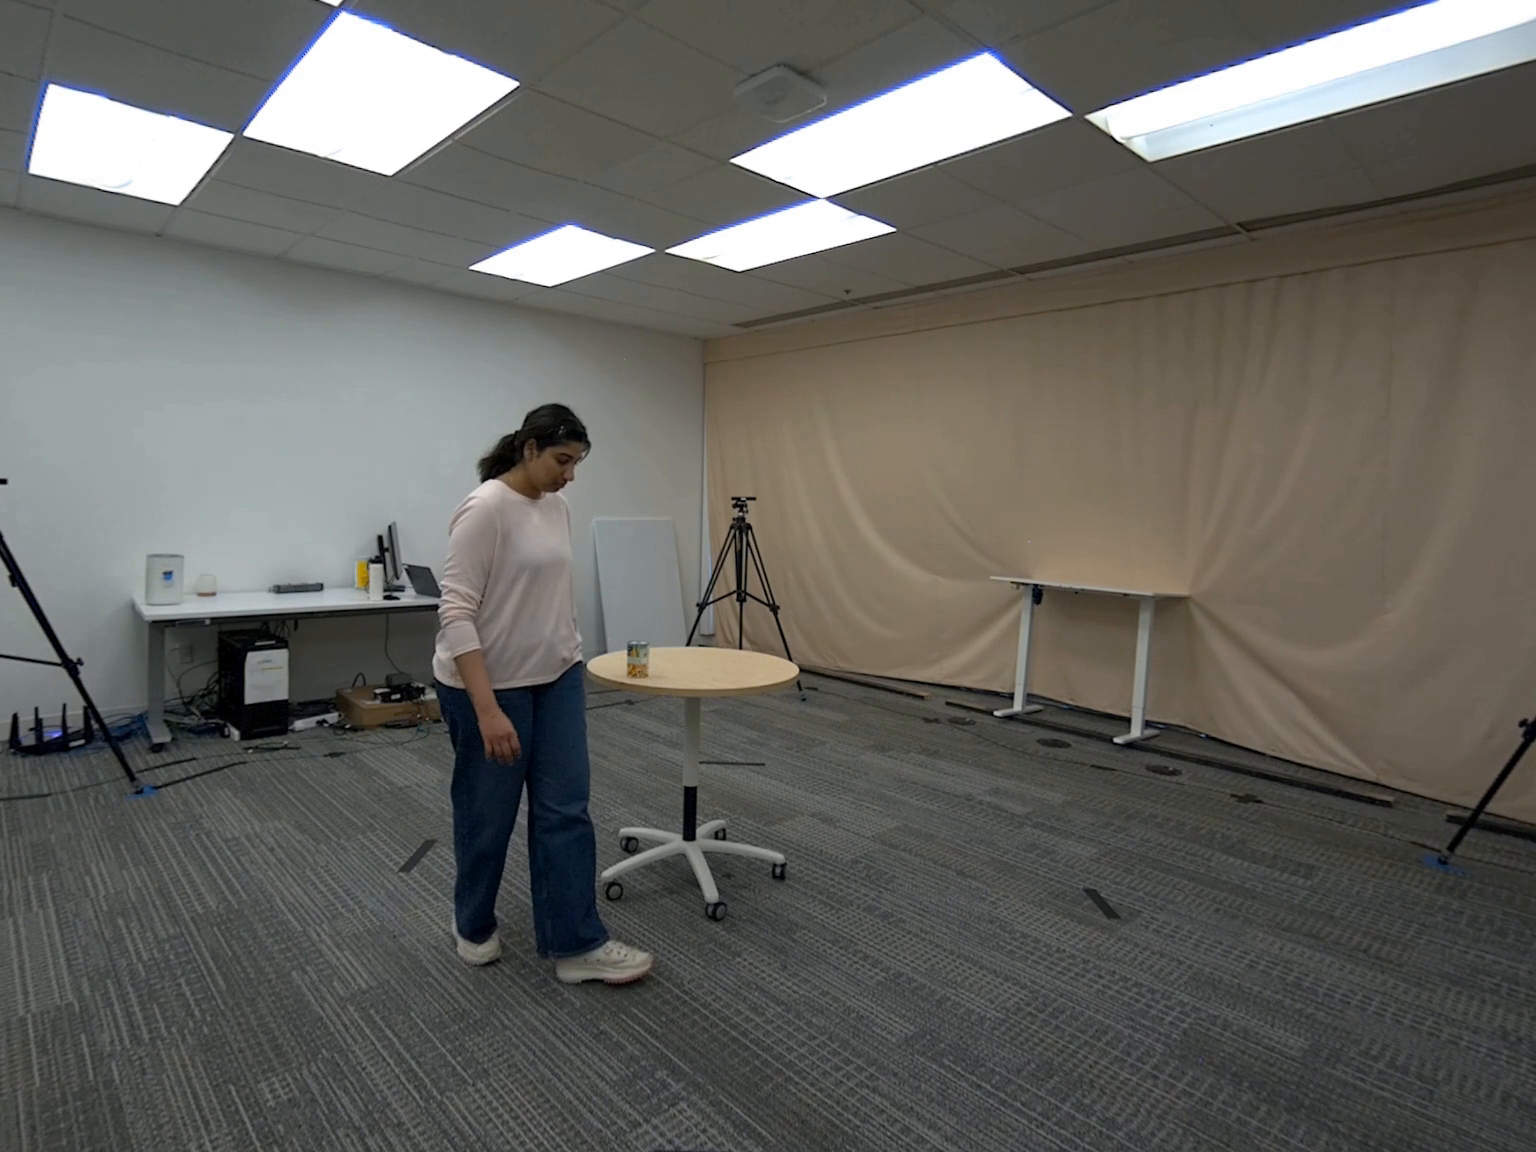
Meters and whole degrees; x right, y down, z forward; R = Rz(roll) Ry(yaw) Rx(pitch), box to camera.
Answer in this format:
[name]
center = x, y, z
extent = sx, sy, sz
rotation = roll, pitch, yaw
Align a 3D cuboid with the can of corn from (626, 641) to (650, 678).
[can of corn]
center = -0.445, 0.282, 2.832
extent = 0.074, 0.111, 0.074
rotation = 2, 2, -1
